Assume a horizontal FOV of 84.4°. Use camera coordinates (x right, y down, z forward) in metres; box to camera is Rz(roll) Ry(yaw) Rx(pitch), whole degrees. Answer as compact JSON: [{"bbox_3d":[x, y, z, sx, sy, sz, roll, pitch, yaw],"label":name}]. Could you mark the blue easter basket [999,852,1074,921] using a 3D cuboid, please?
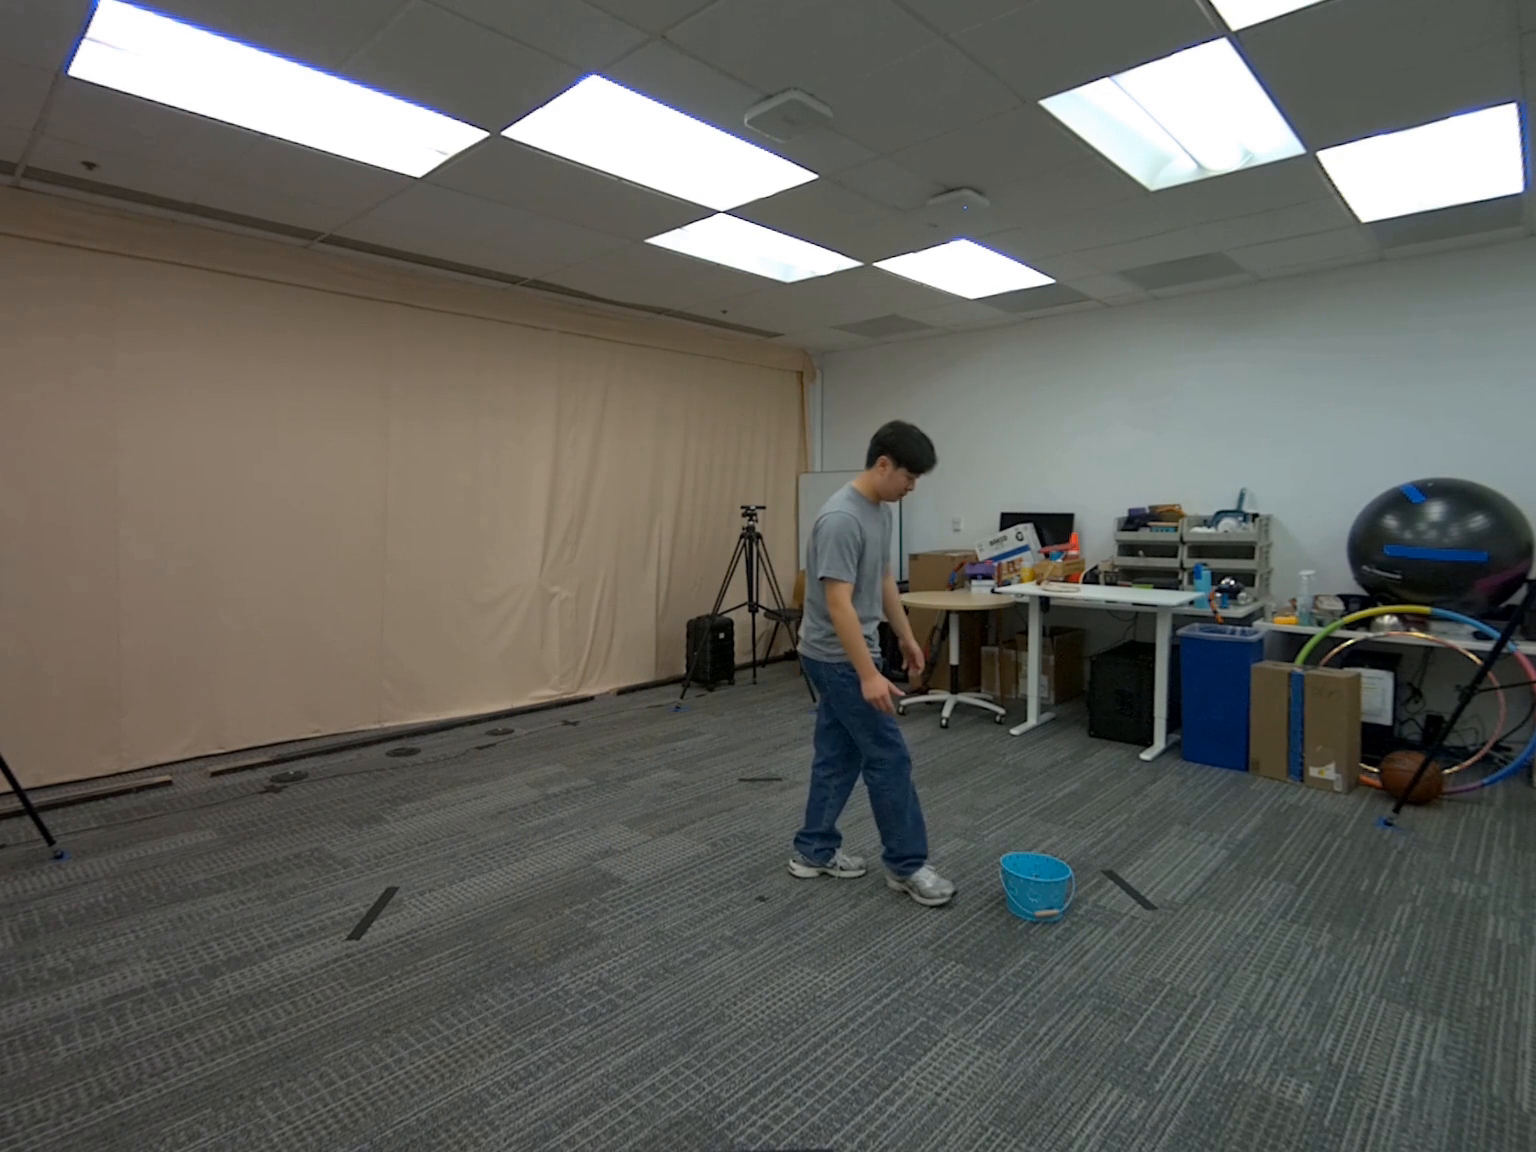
[{"bbox_3d":[0.920,1.073,2.897,0.243,0.155,0.244,0,4,-2],"label":"blue easter basket"}]
